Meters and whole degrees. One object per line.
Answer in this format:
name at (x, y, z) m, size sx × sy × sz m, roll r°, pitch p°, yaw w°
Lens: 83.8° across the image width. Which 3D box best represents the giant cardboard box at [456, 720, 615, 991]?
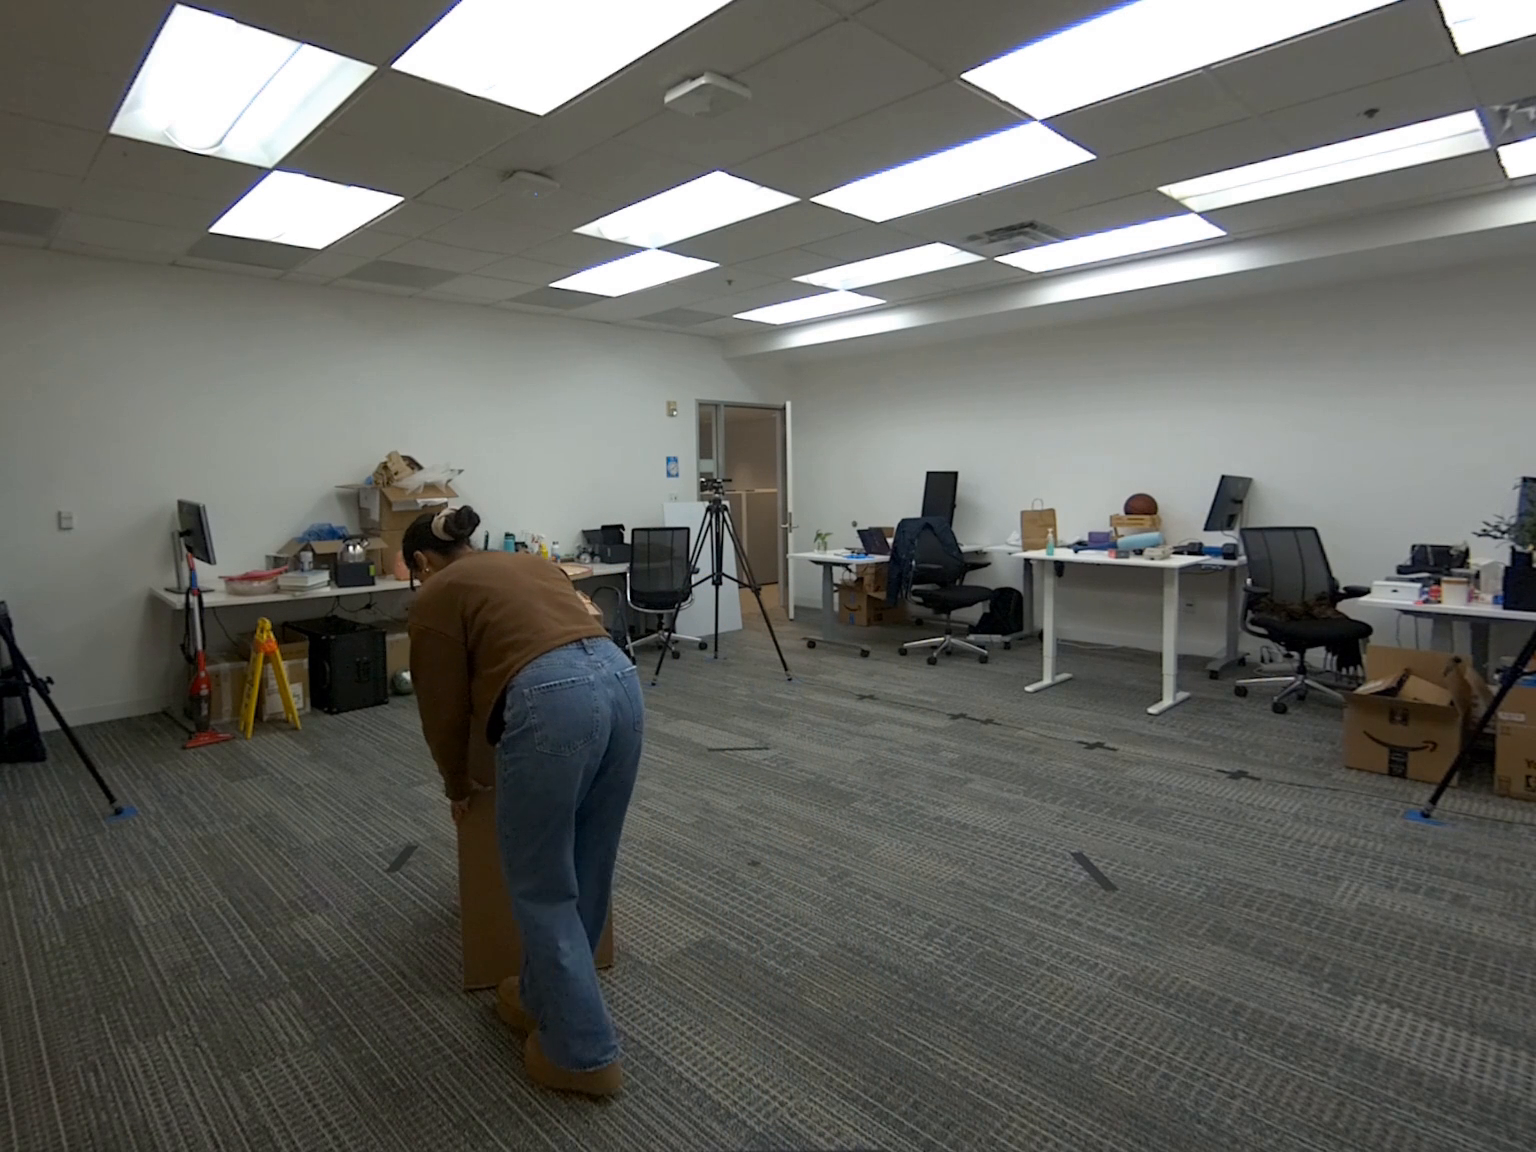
giant cardboard box at (-0.736, 0.603, 2.651) m, size 0.419 × 1.023 × 0.589 m, roll -3°, pitch 4°, yaw -19°
